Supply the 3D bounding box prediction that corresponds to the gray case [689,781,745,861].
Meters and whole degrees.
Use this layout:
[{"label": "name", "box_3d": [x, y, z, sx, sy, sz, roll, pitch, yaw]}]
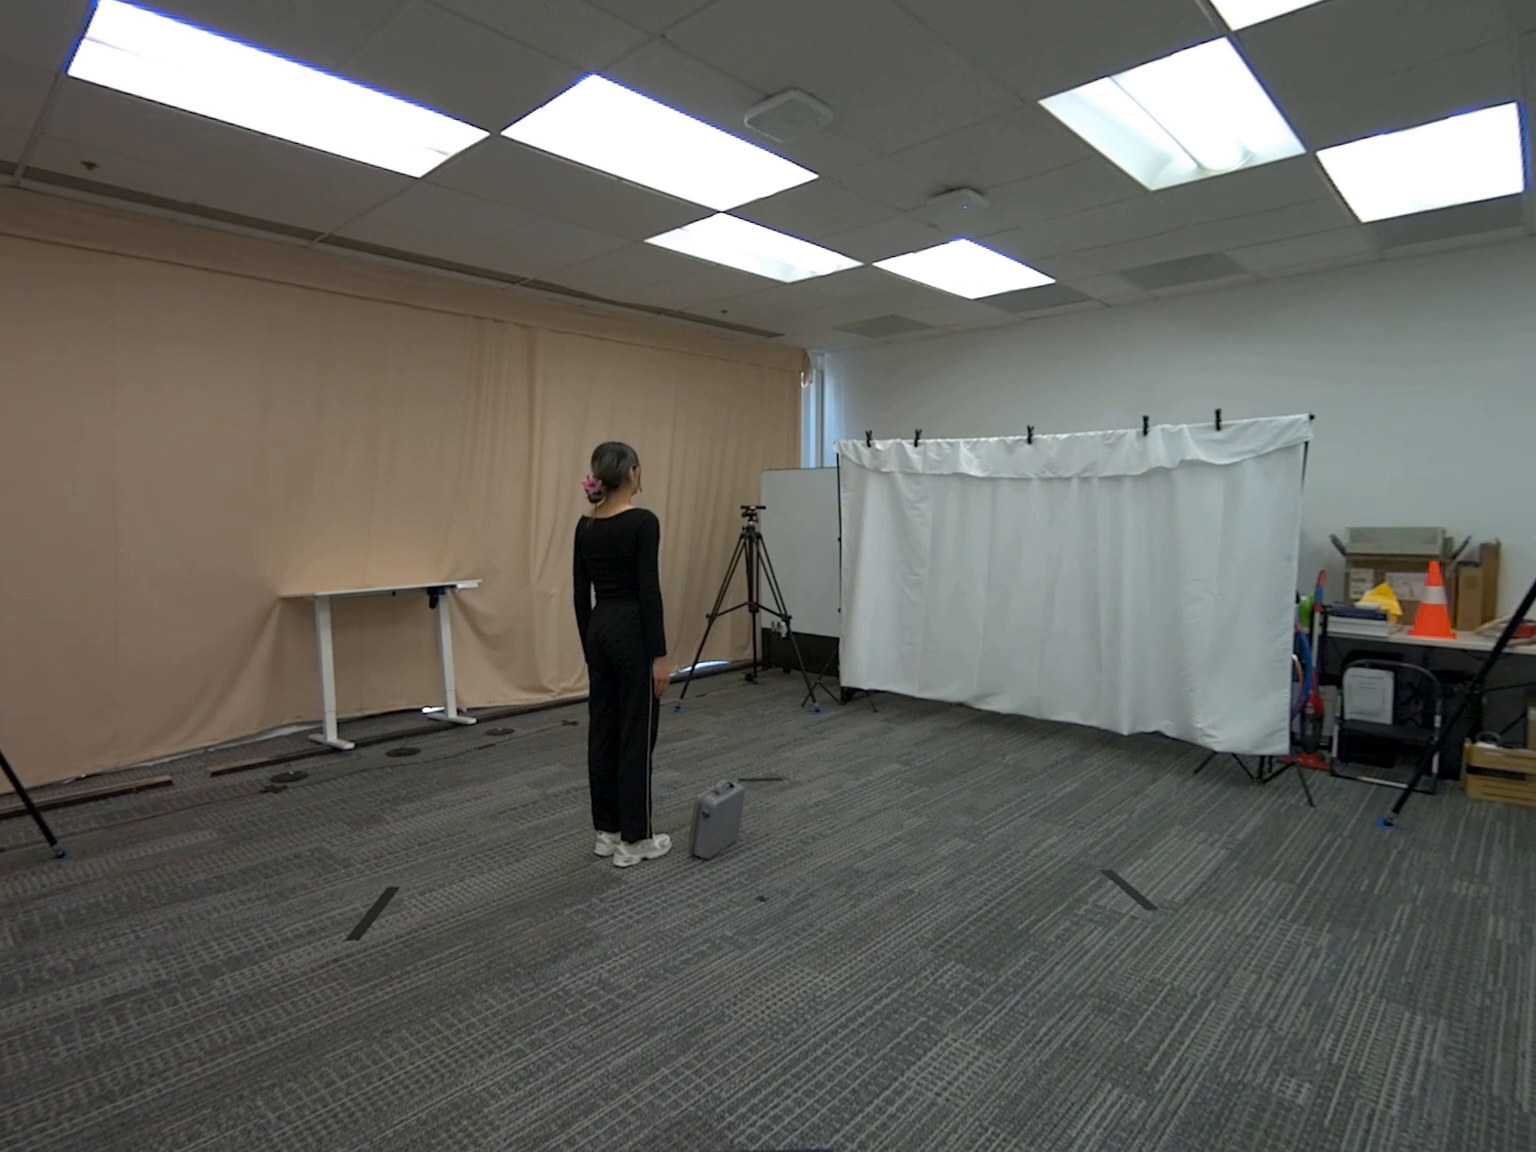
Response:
[{"label": "gray case", "box_3d": [-0.202, 0.979, 3.399, 0.107, 0.259, 0.250, 14, 11, 28]}]
